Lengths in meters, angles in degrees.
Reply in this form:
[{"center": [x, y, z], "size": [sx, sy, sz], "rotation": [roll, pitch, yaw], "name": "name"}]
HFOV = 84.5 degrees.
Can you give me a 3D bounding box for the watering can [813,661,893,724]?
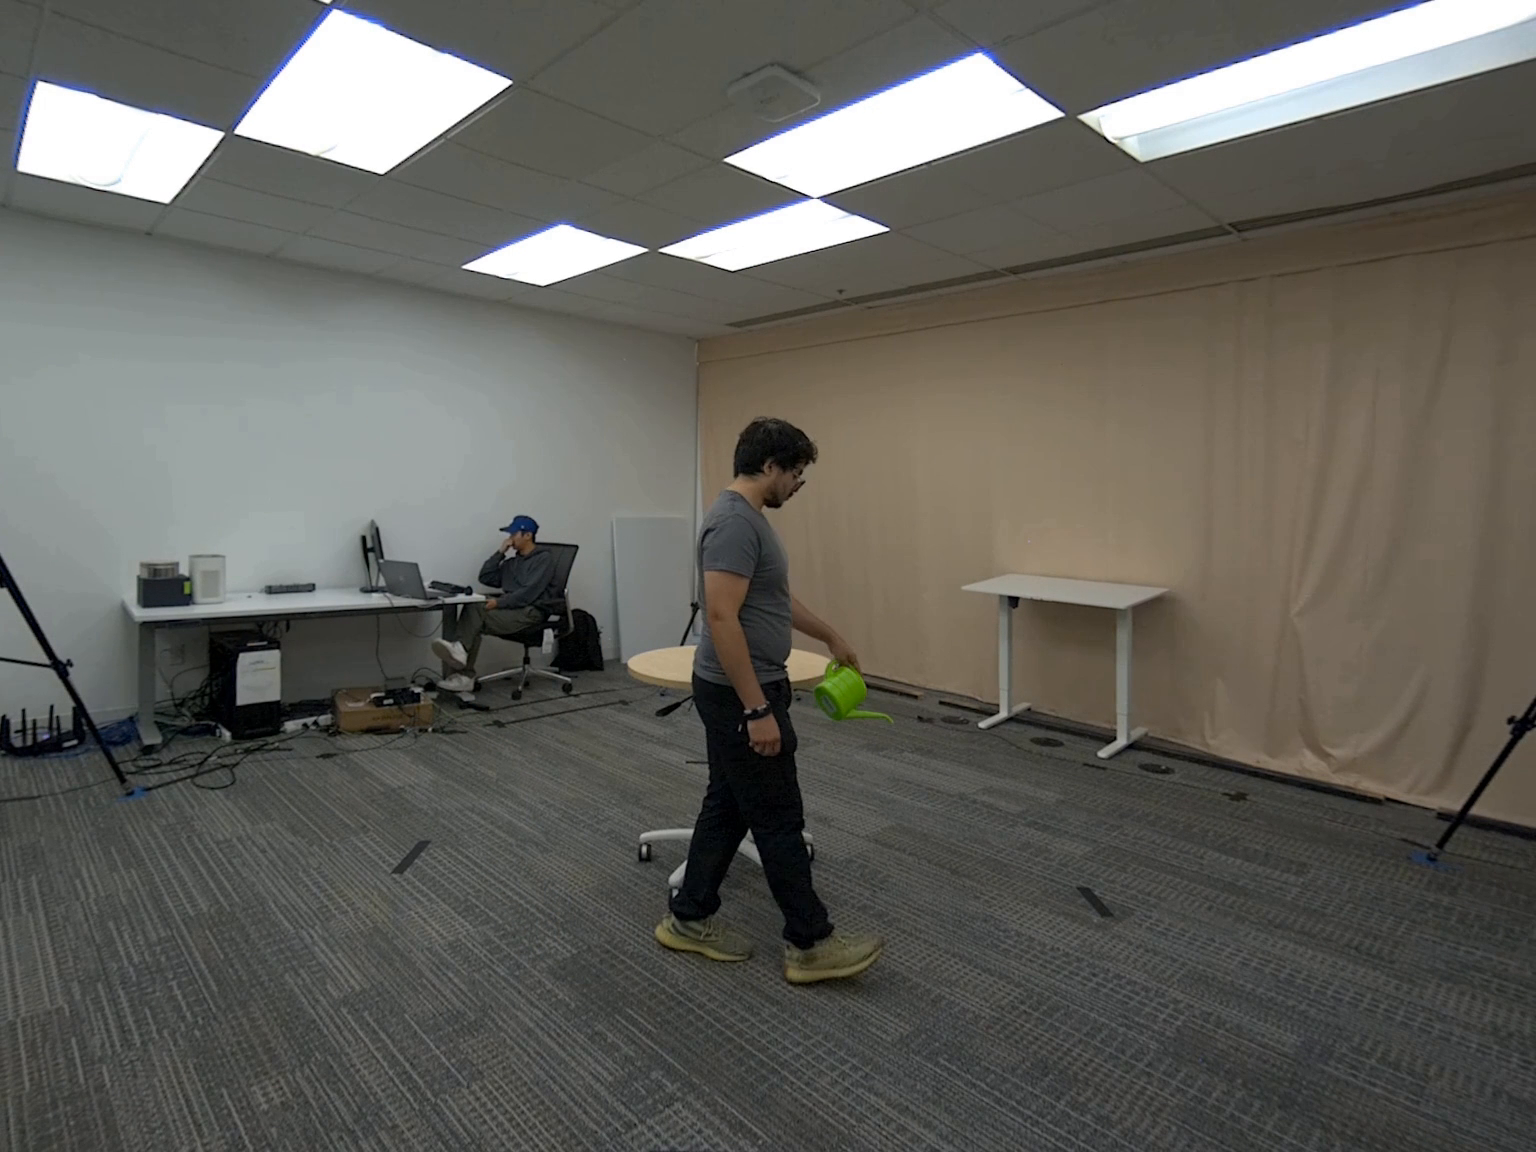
[{"center": [0.281, 0.396, 2.691], "size": [0.283, 0.097, 0.175], "rotation": [42, 51, 17], "name": "watering can"}]
